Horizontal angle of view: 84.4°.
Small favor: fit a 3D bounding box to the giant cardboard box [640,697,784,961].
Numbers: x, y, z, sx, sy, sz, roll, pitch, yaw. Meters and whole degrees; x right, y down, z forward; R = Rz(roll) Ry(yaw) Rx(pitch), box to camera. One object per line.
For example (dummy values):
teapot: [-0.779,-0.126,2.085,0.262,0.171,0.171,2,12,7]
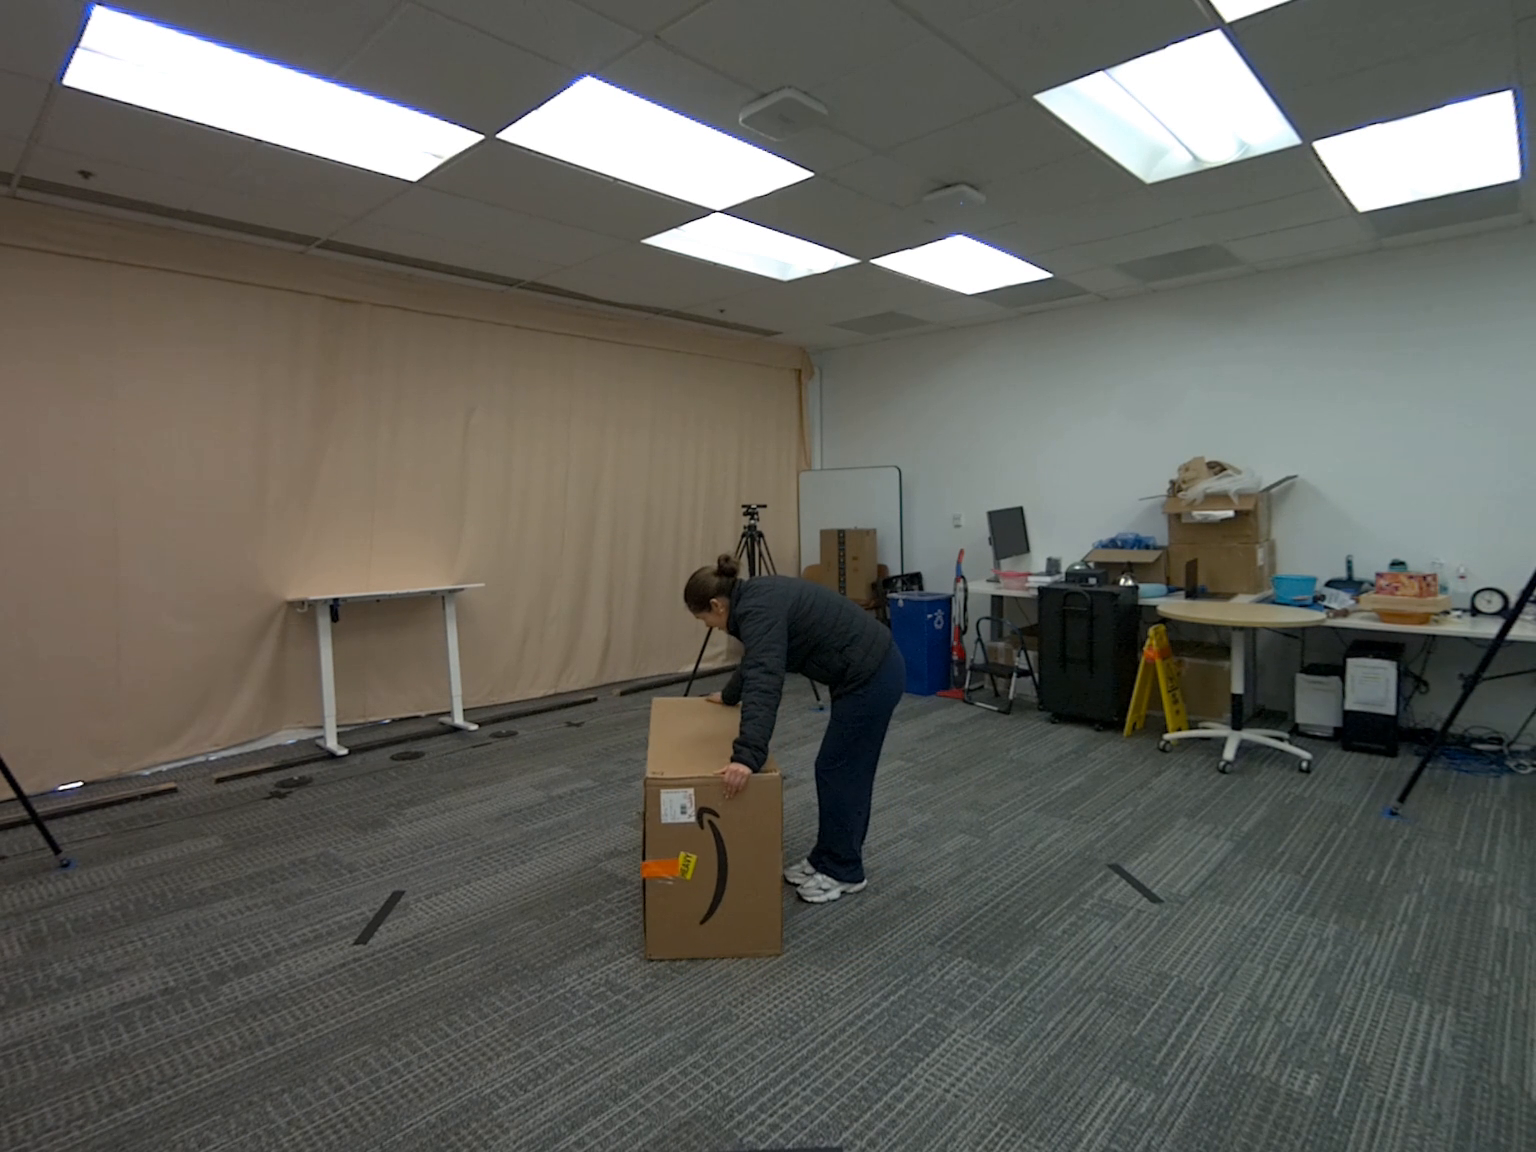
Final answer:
giant cardboard box: [-0.220,0.844,3.077,0.444,0.582,1.034,1,4,-6]
